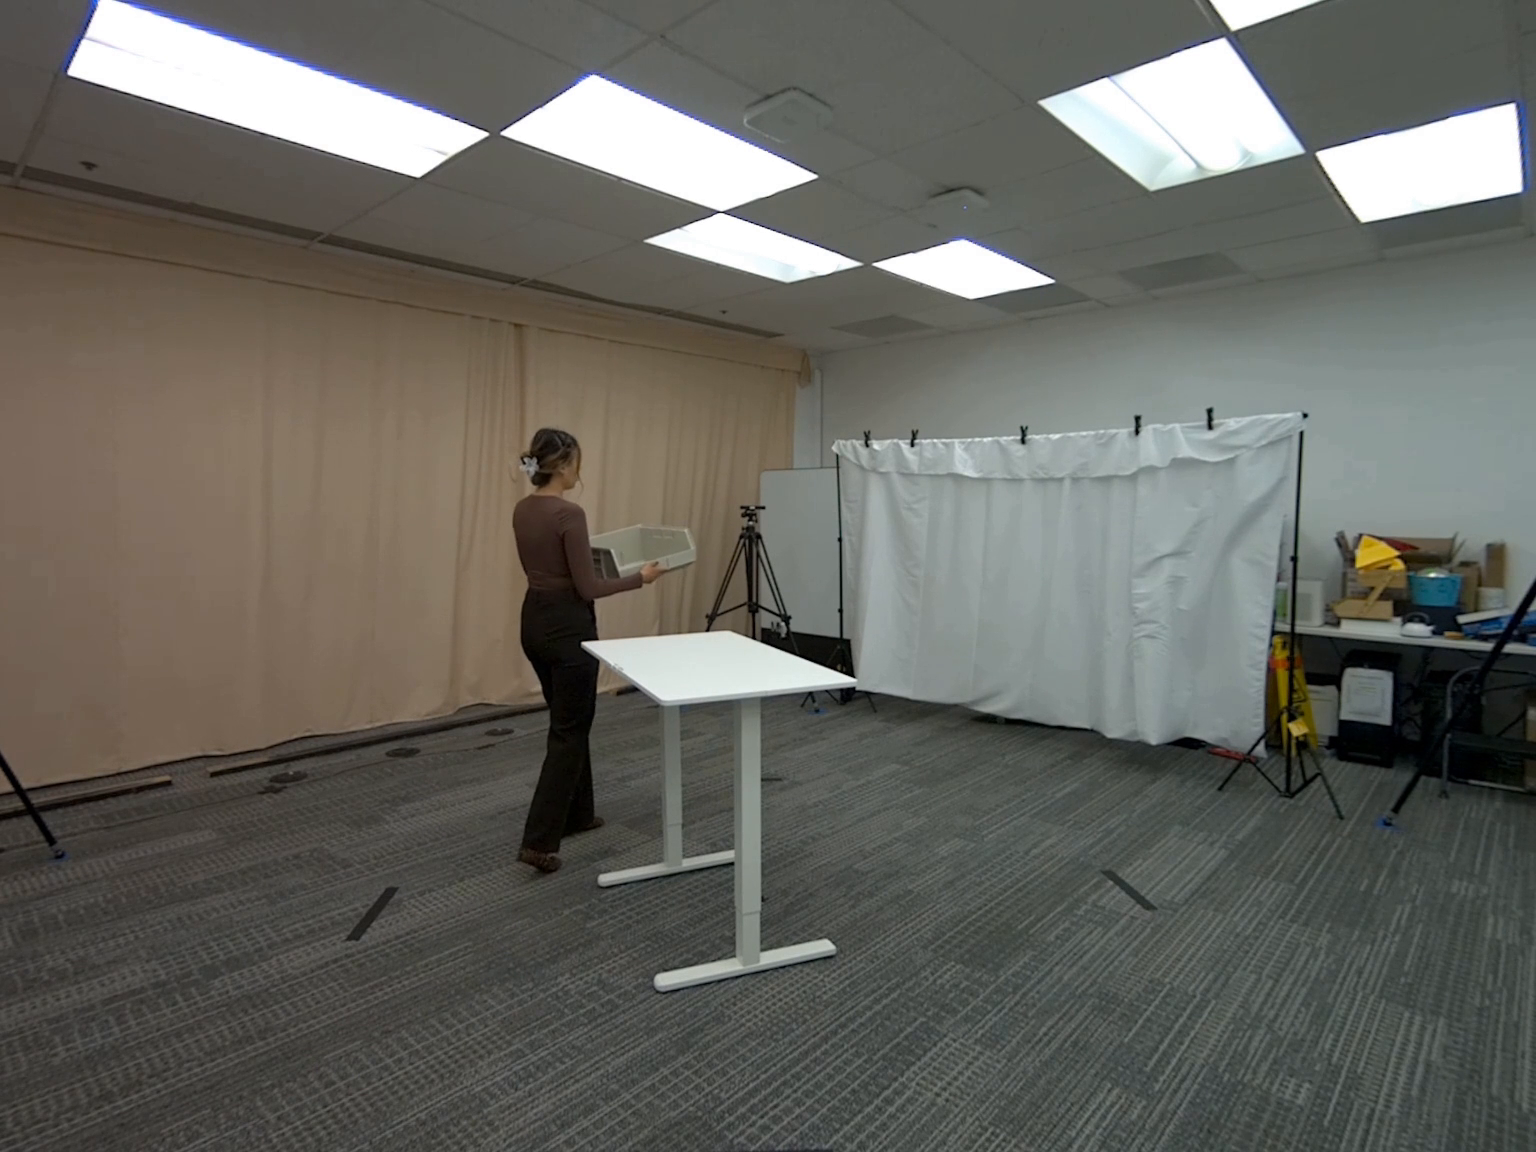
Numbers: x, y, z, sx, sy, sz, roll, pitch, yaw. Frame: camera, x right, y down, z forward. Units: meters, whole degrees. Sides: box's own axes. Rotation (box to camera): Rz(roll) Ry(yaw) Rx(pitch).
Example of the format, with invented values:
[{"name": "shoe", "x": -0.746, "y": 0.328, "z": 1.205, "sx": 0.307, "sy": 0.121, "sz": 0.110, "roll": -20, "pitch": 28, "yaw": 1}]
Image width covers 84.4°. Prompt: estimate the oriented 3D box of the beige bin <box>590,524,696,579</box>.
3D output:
[{"name": "beige bin", "x": -0.584, "y": -0.084, "z": 3.647, "sx": 0.412, "sy": 0.187, "sz": 0.390, "roll": -18, "pitch": 16, "yaw": -41}]
